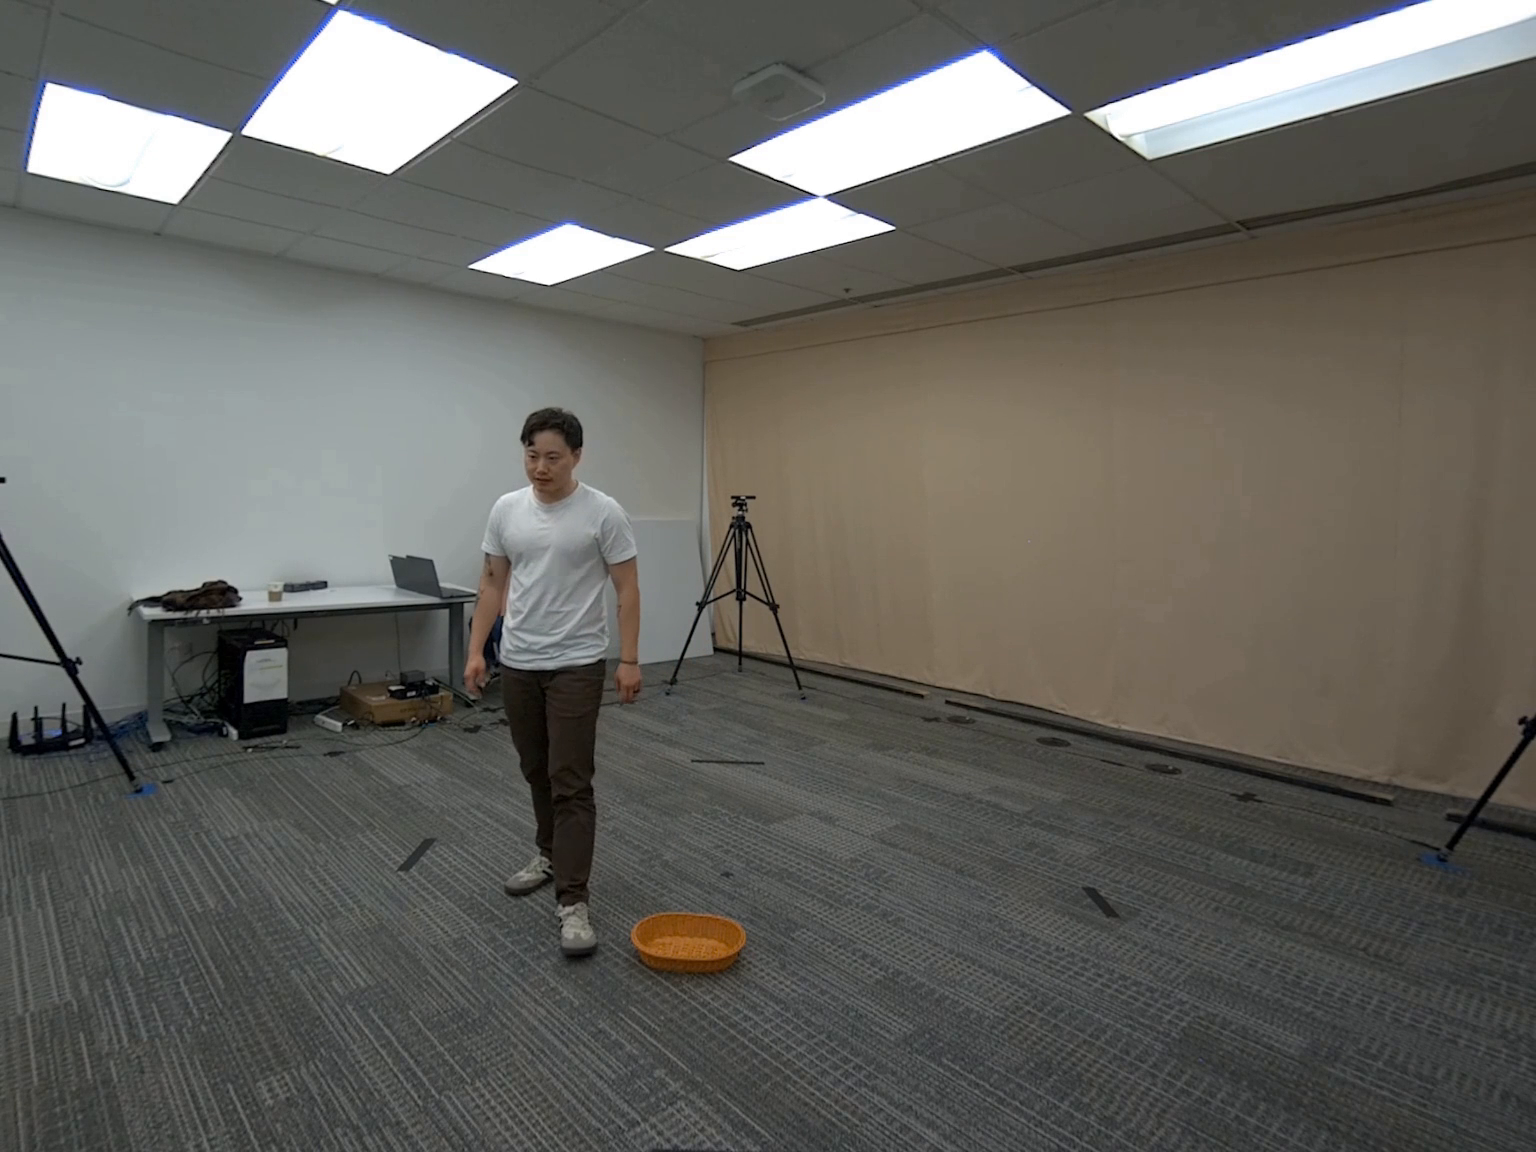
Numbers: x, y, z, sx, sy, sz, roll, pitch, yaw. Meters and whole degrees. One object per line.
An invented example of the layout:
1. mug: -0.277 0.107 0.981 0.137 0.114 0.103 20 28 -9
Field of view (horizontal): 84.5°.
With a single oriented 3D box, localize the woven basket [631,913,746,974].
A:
1. woven basket: -0.248 1.112 2.541 0.352 0.073 0.252 1 7 6
